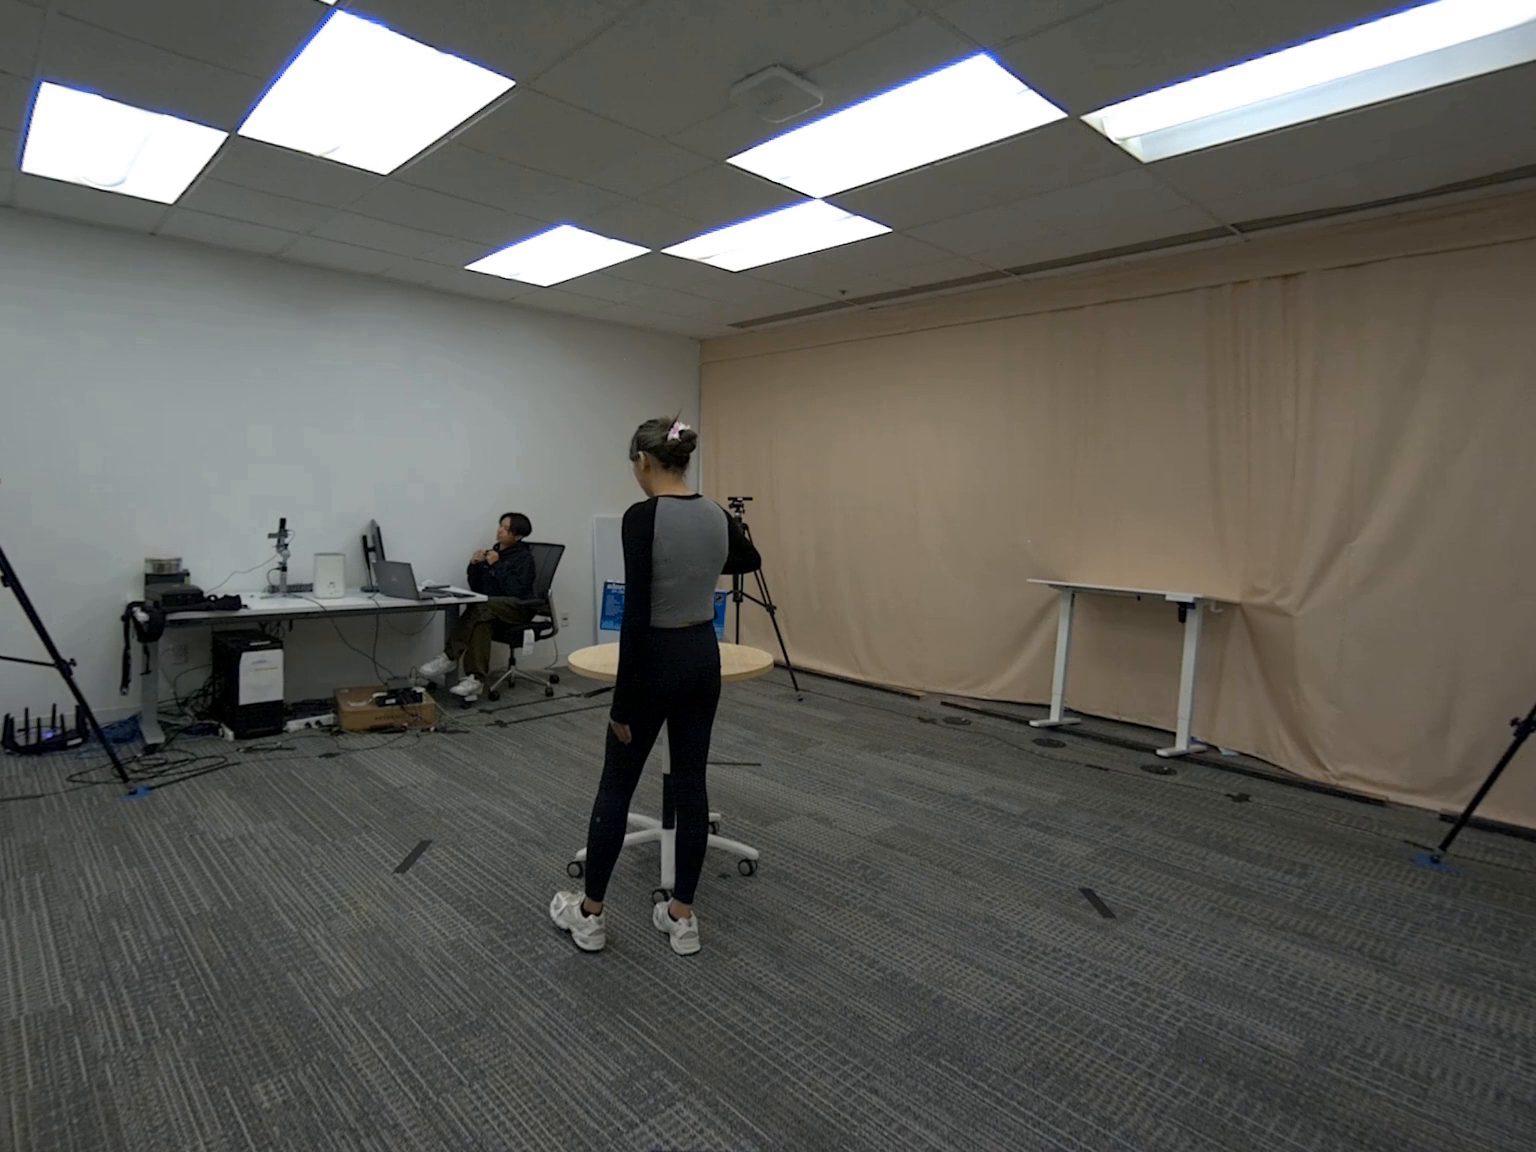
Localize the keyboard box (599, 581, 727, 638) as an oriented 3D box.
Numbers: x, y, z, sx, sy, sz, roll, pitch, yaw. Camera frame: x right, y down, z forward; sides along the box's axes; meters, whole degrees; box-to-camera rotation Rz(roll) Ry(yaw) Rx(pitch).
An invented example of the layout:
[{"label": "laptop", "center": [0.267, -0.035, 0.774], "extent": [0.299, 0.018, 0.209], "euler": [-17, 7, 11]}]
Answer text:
[{"label": "keyboard box", "center": [-0.377, 0.126, 2.999], "extent": [0.434, 0.175, 0.059], "euler": [5, 3, -6]}]
